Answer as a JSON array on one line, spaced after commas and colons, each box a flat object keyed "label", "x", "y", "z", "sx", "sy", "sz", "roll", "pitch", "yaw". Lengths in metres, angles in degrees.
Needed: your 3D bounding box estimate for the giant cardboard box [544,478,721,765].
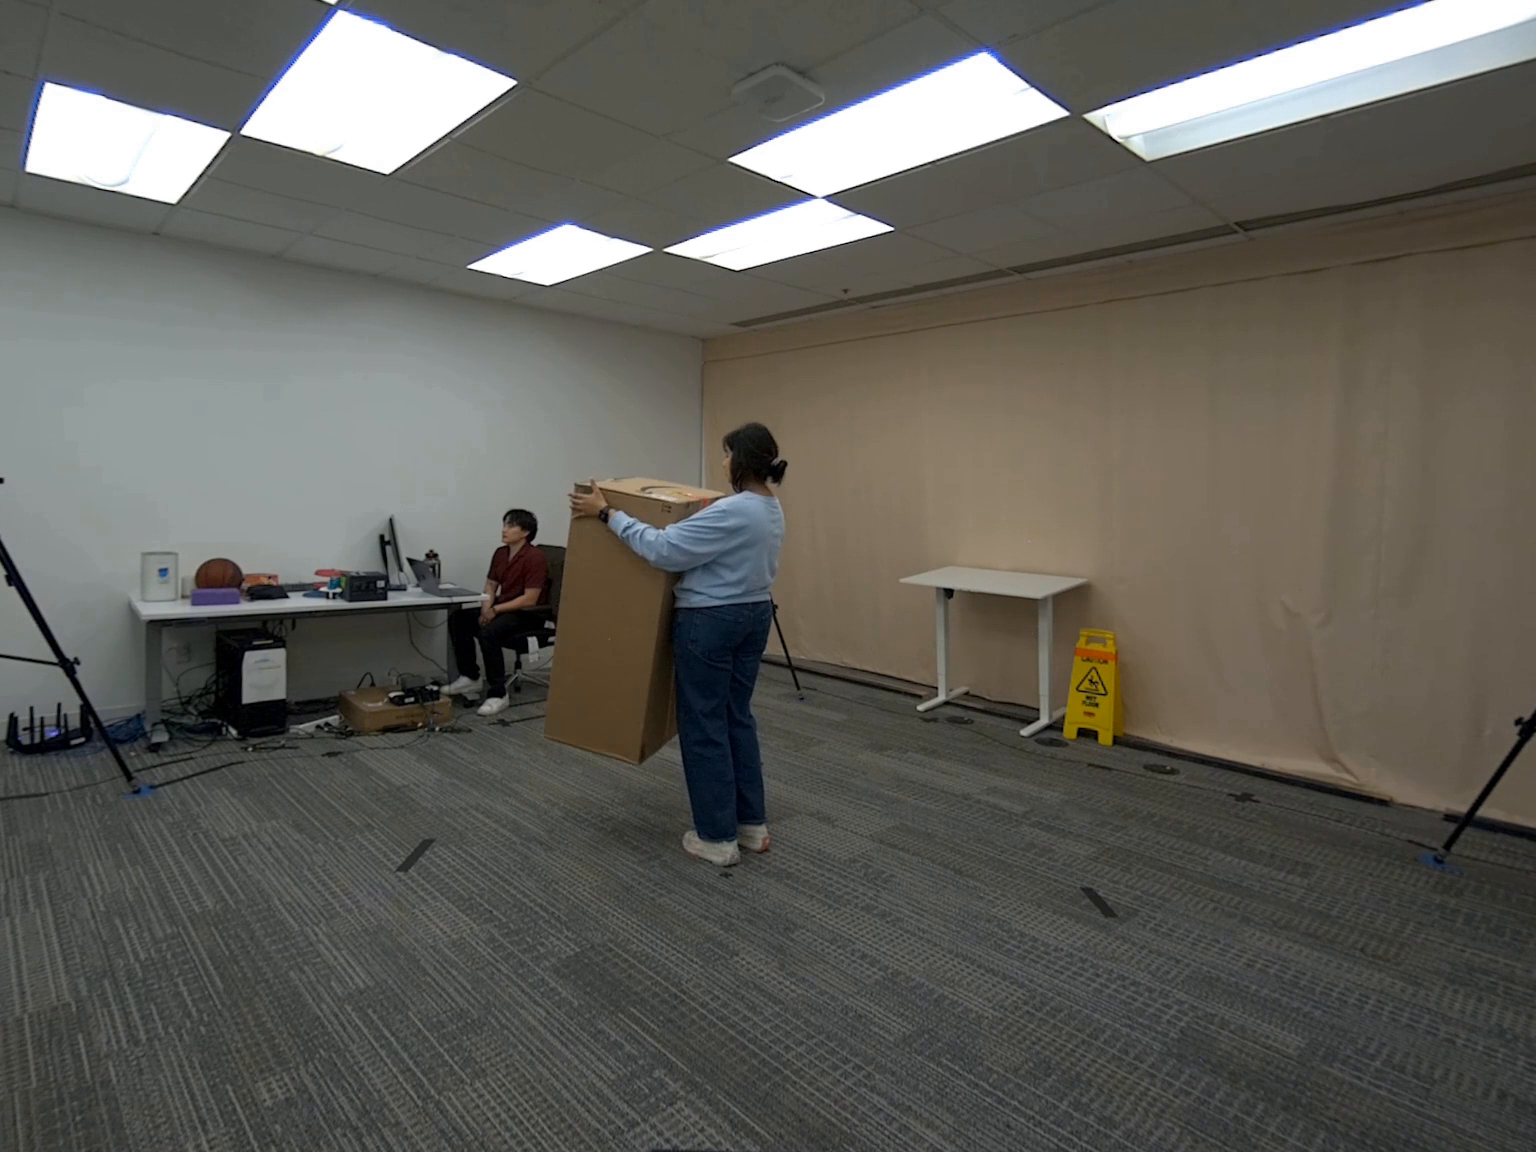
[{"label": "giant cardboard box", "x": -0.534, "y": 0.143, "z": 3.438, "sx": 0.454, "sy": 1.021, "sz": 0.578, "roll": 13, "pitch": 10, "yaw": 17}]
